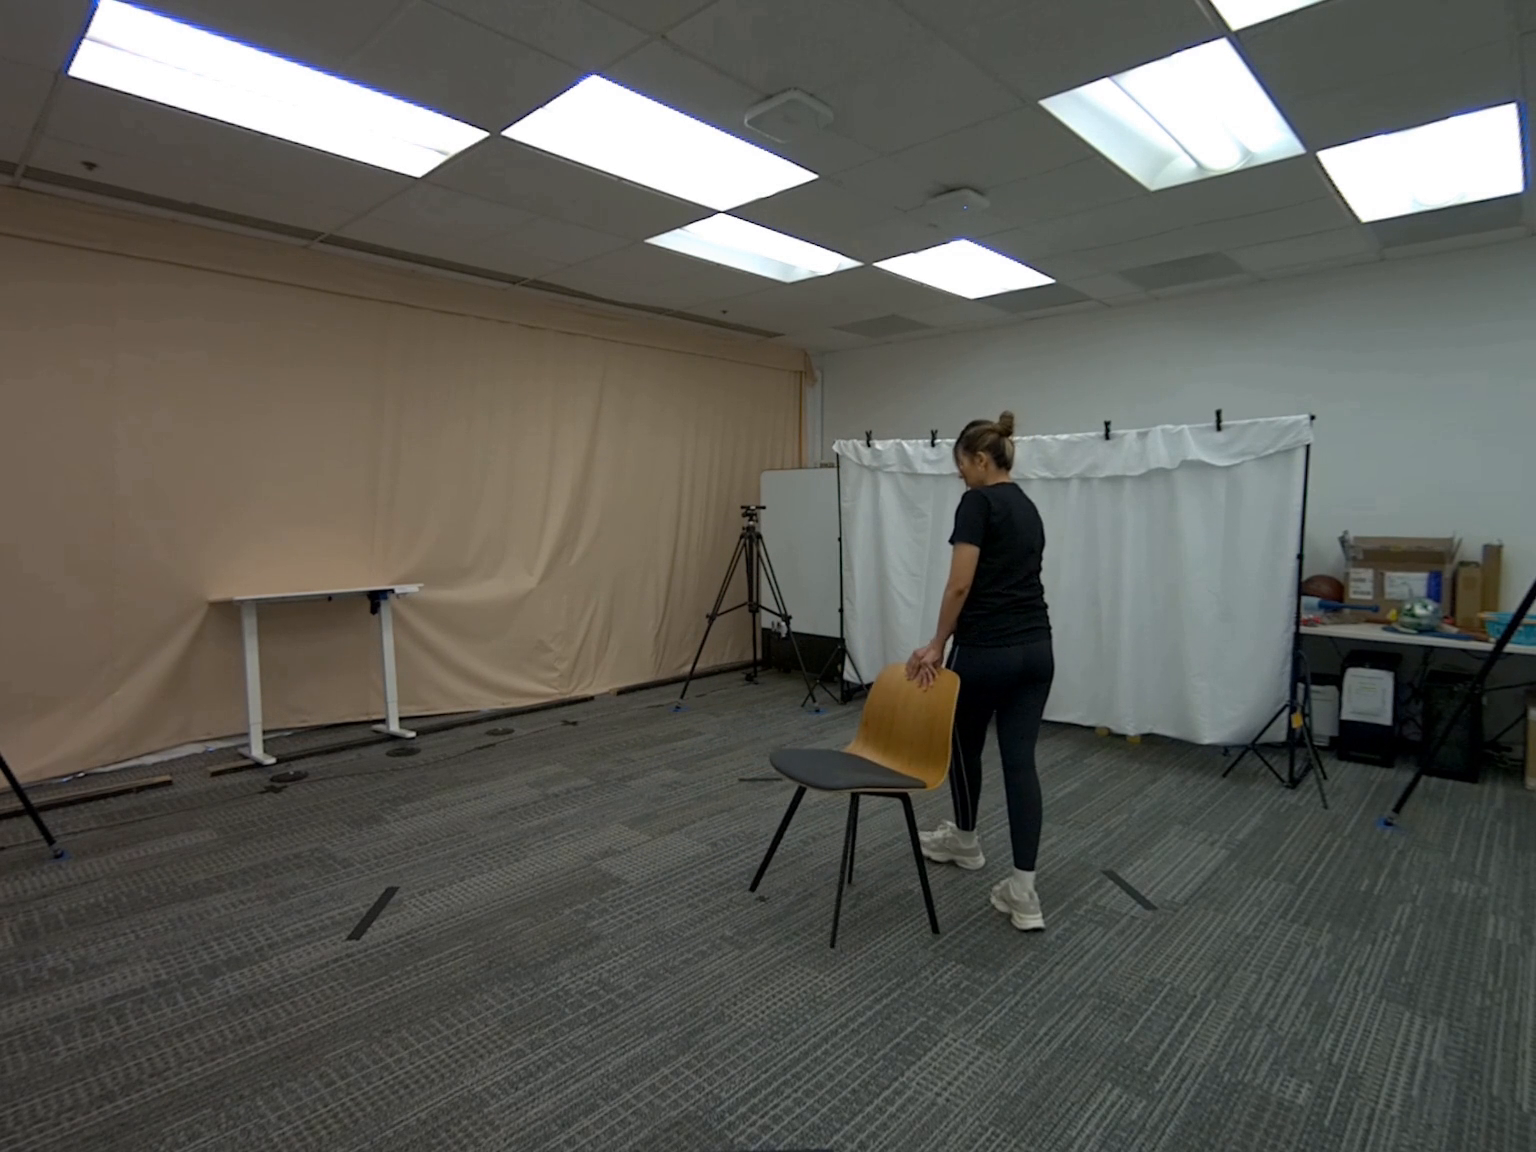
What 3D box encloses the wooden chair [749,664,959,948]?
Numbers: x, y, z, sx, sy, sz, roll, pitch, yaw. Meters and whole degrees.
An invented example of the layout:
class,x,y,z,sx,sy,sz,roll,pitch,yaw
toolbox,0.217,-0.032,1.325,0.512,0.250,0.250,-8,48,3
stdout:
class,x,y,z,sx,sy,sz,roll,pitch,yaw
wooden chair,0.305,0.698,2.811,0.507,0.879,0.493,14,-5,-32
